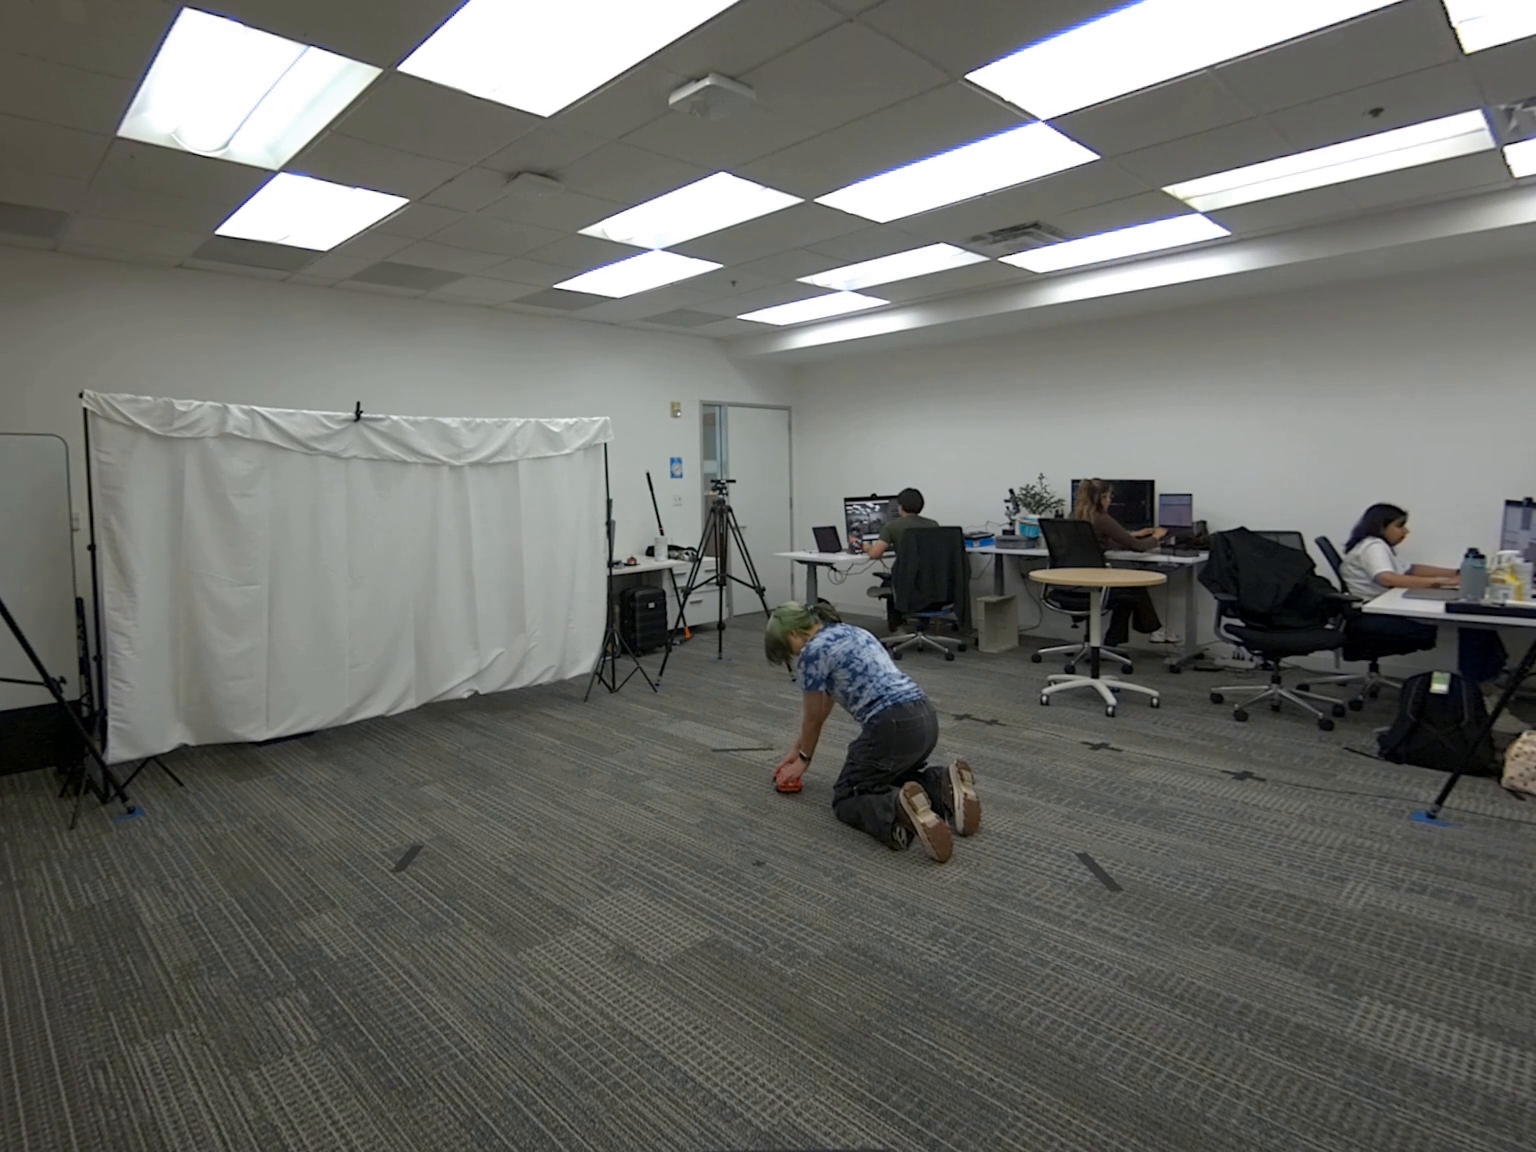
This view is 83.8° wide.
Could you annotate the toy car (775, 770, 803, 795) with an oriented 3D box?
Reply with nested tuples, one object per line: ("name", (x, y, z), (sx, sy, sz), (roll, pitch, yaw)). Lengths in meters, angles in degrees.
("toy car", (0.095, 0.932, 3.888), (0.130, 0.084, 0.253), (-1, -5, -2))
